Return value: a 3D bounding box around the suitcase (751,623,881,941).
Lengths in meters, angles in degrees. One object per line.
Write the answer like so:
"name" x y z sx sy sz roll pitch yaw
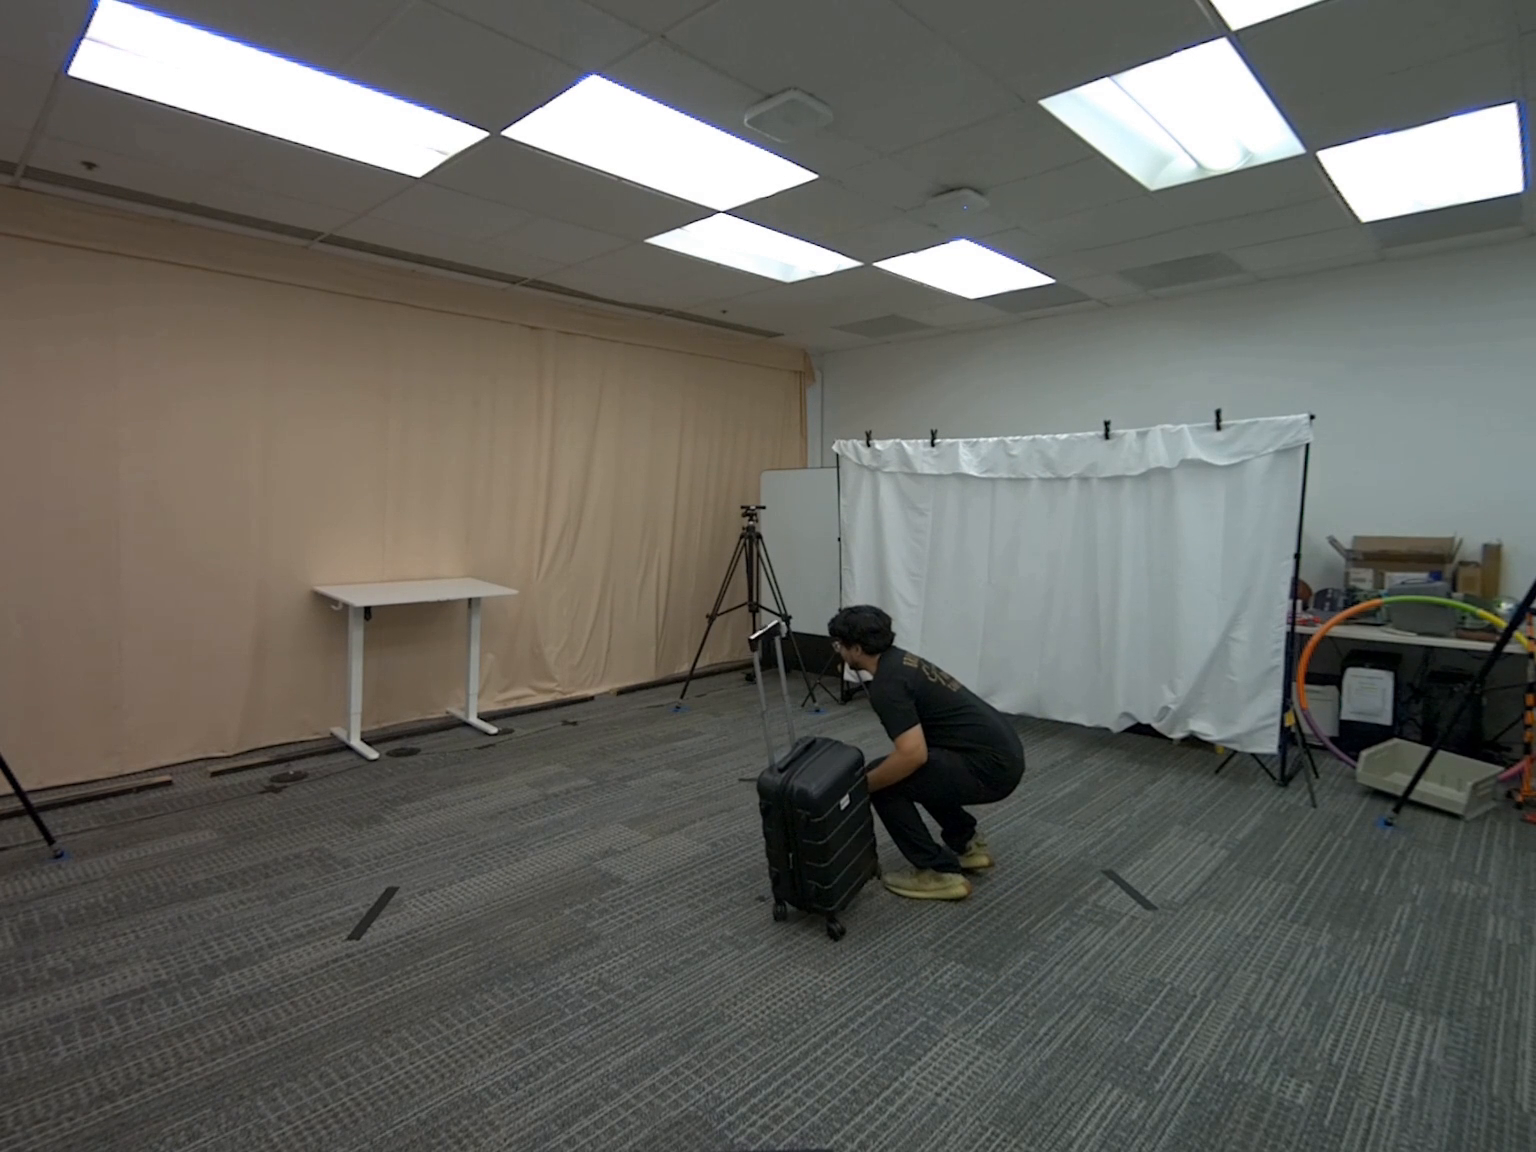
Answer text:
"suitcase" 0.147 0.659 2.779 0.265 0.967 0.376 4 19 36
